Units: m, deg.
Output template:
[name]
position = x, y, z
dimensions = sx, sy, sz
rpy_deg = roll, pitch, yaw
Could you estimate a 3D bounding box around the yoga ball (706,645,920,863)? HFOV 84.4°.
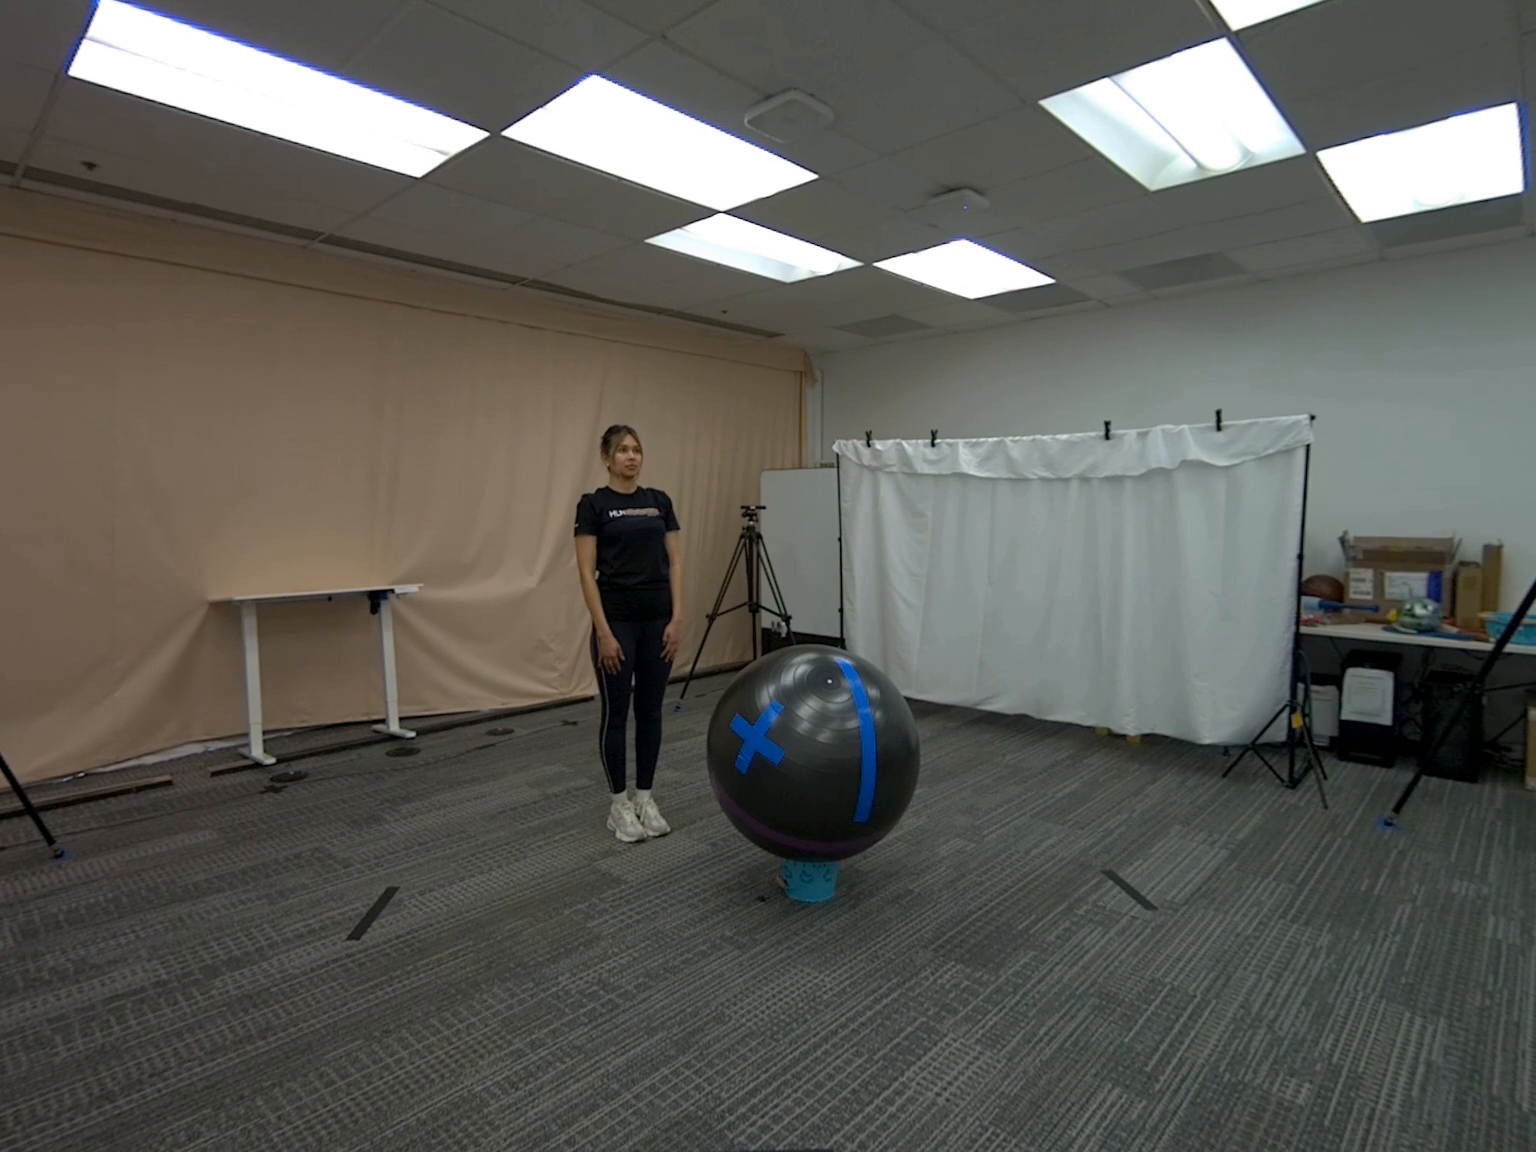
[yoga ball]
position = 0.163, 0.629, 3.016
dimensions = 0.757, 0.756, 0.760
rpy_deg = 0, 4, -2
